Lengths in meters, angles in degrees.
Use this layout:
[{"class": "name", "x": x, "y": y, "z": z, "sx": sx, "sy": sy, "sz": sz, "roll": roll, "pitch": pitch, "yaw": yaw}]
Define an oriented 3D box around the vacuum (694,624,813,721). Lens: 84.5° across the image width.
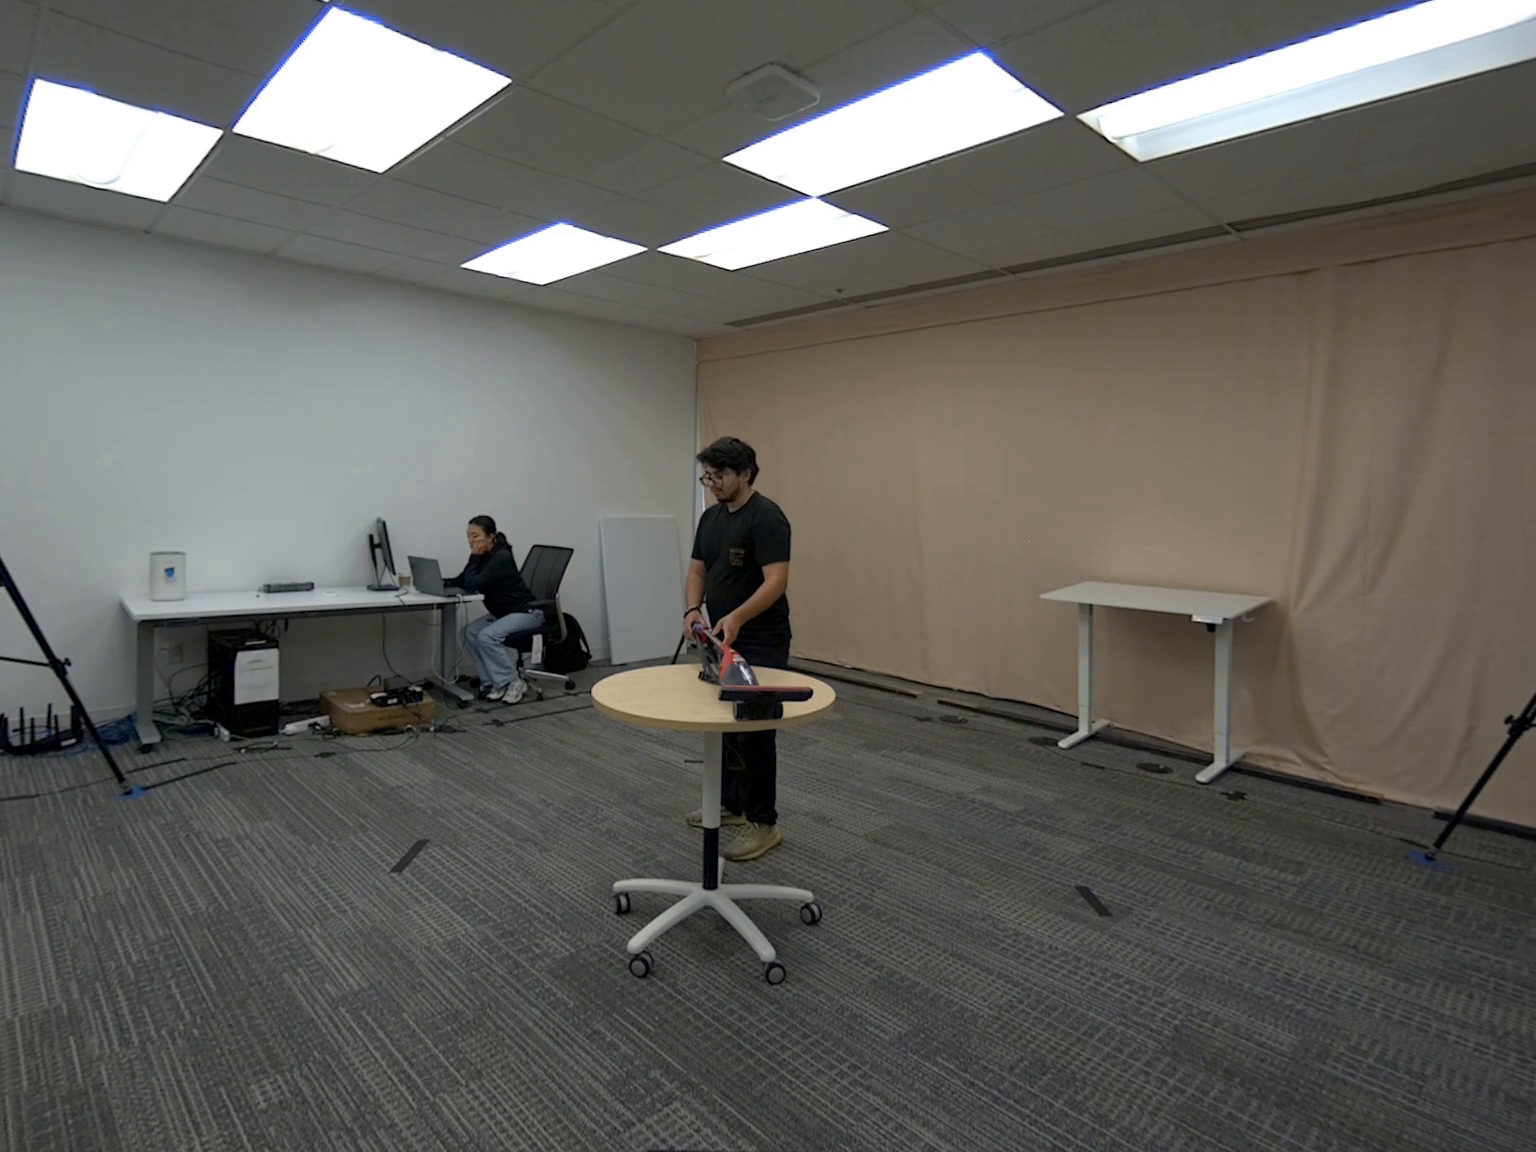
[{"class": "vacuum", "x": -0.154, "y": 0.291, "z": 2.762, "sx": 0.250, "sy": 0.143, "sz": 1.065, "roll": 1, "pitch": 6, "yaw": -15}]
